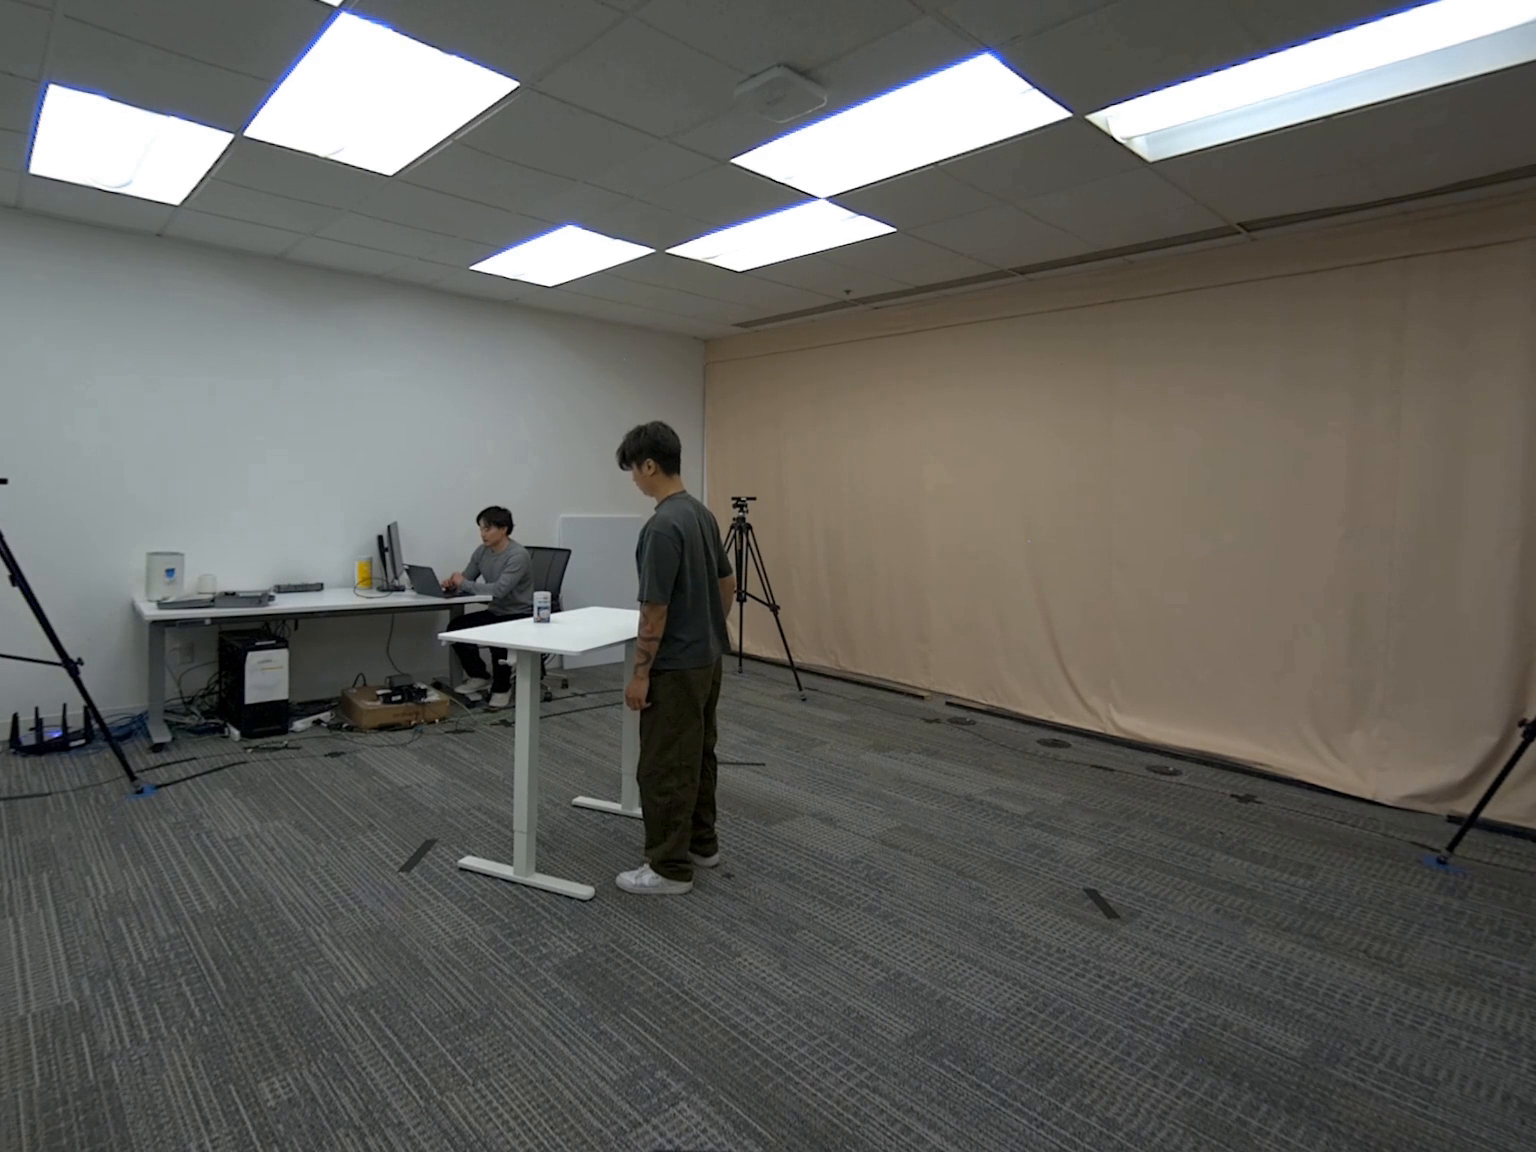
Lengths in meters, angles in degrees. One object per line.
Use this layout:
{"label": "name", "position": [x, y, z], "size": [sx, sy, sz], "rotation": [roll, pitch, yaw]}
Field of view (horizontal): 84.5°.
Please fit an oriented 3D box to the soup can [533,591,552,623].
{"label": "soup can", "position": [-0.901, 0.127, 3.346], "size": [0.067, 0.121, 0.067], "rotation": [-1, 3, -1]}
